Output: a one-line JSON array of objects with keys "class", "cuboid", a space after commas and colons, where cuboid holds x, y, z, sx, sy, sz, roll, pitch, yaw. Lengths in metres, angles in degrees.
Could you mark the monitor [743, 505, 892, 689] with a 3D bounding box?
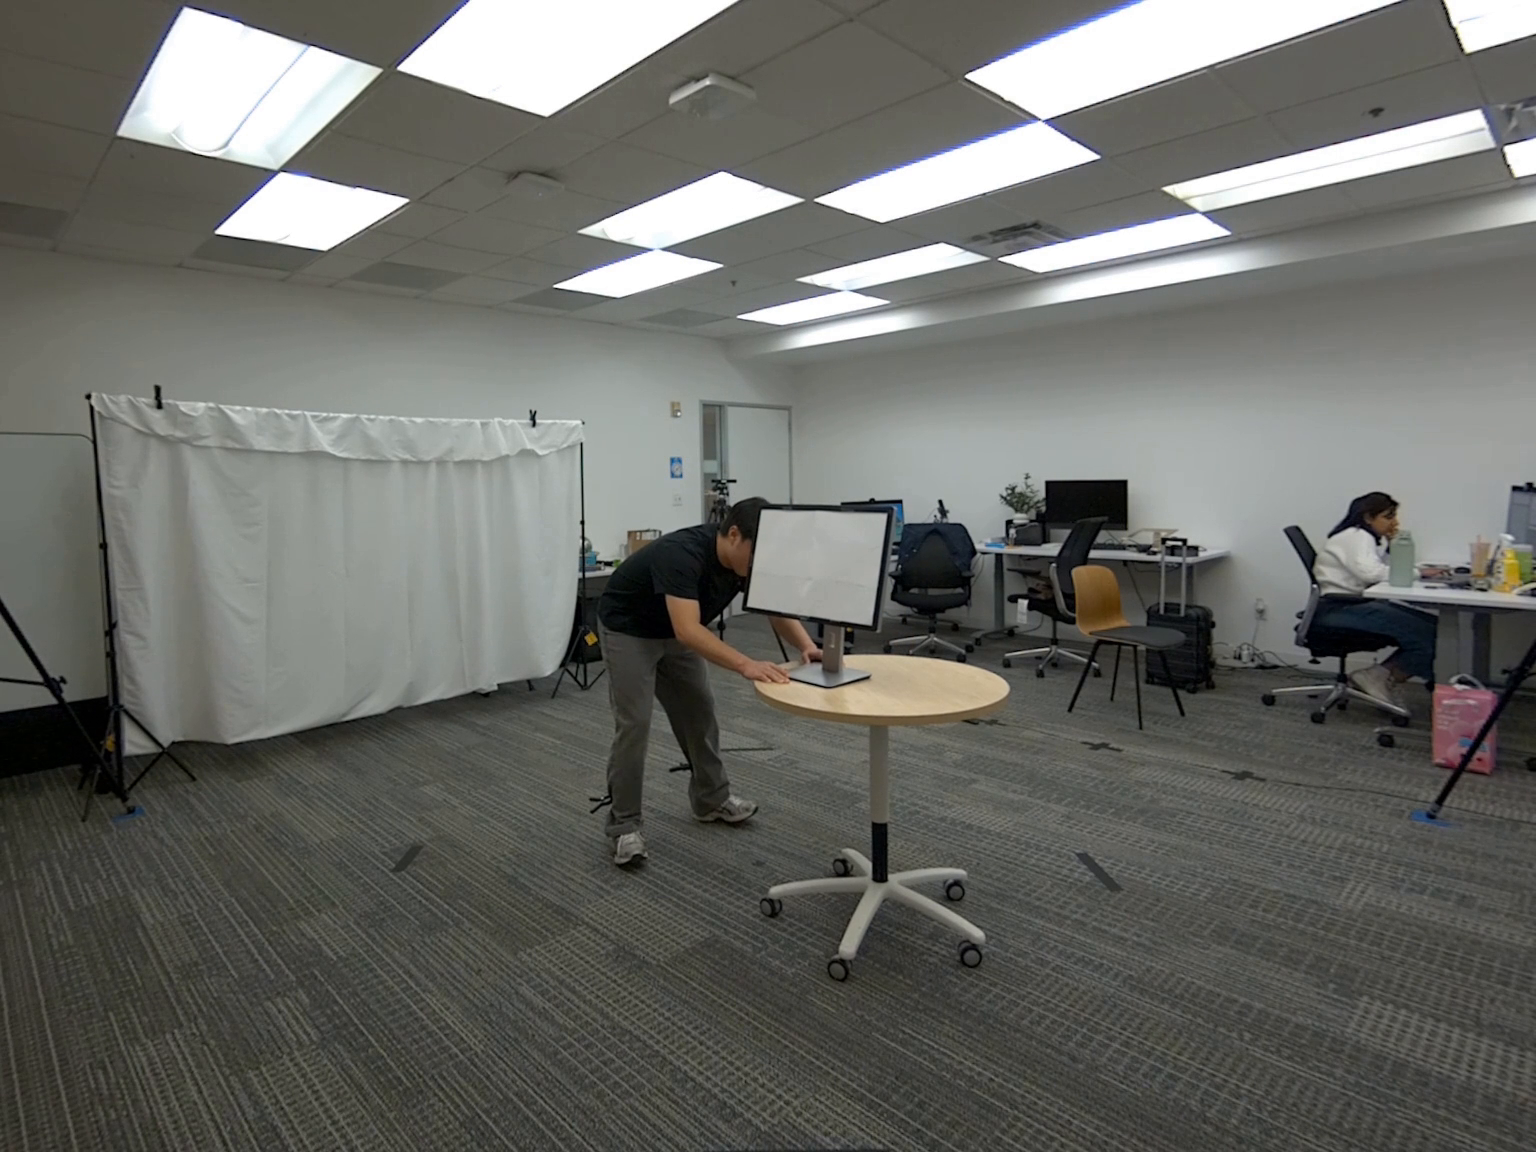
[{"class": "monitor", "cuboid": [0.191, 0.050, 2.692, 0.204, 0.554, 0.583, 4, 0, -44]}]
